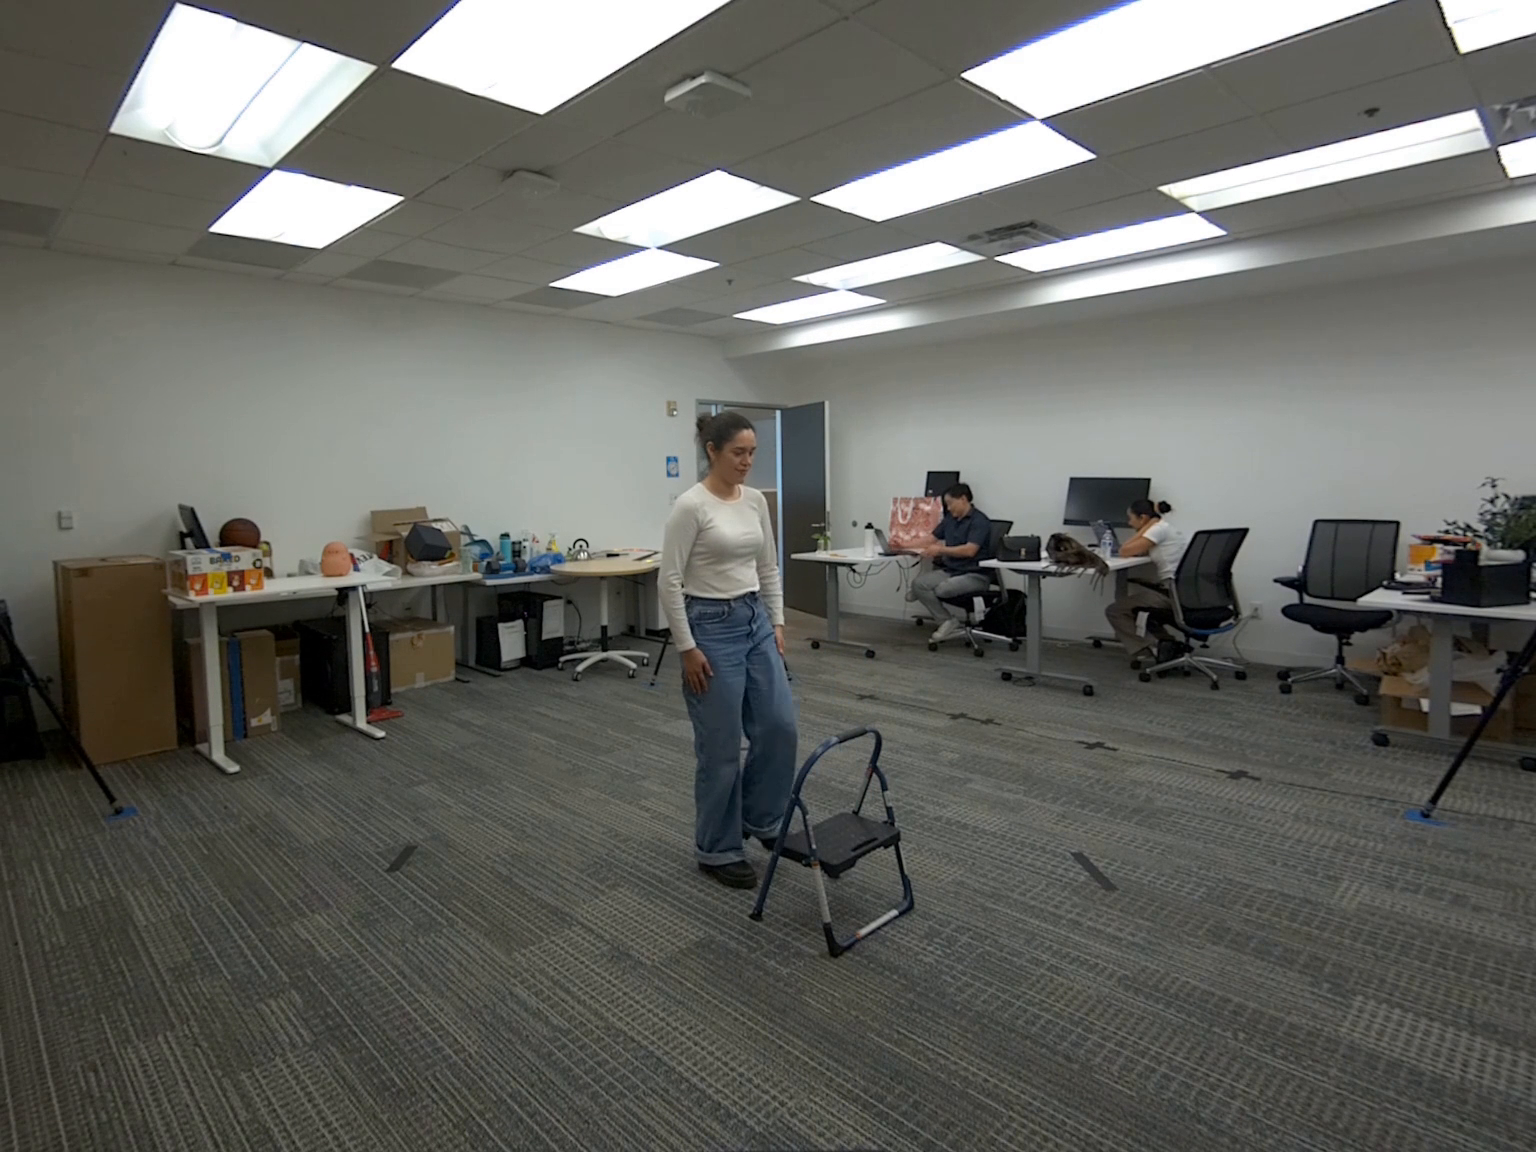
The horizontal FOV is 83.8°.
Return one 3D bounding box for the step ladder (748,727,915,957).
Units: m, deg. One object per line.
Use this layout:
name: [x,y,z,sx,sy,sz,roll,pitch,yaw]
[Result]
step ladder: [0.205,0.779,2.728,0.360,0.604,0.419,2,6,44]
